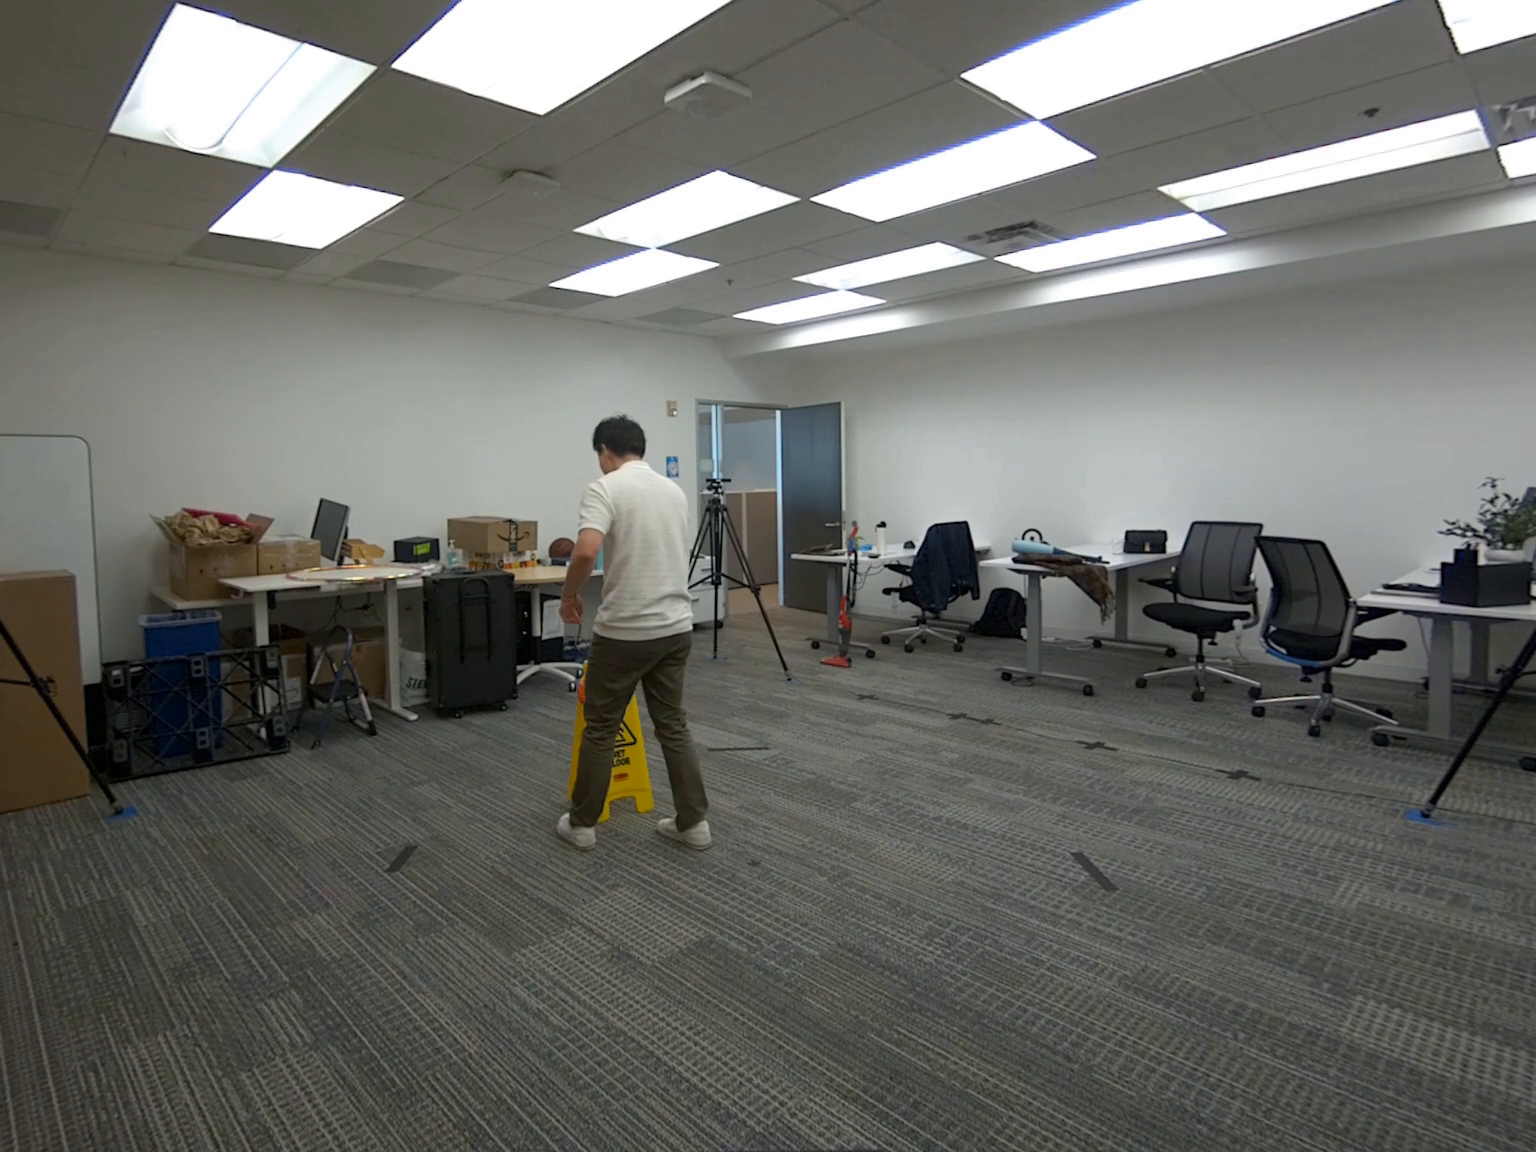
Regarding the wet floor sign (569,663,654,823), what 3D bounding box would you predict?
[{"bbox_3d":[-0.685,0.672,3.677,0.275,0.644,0.298,-4,5,-32],"label":"wet floor sign"}]
